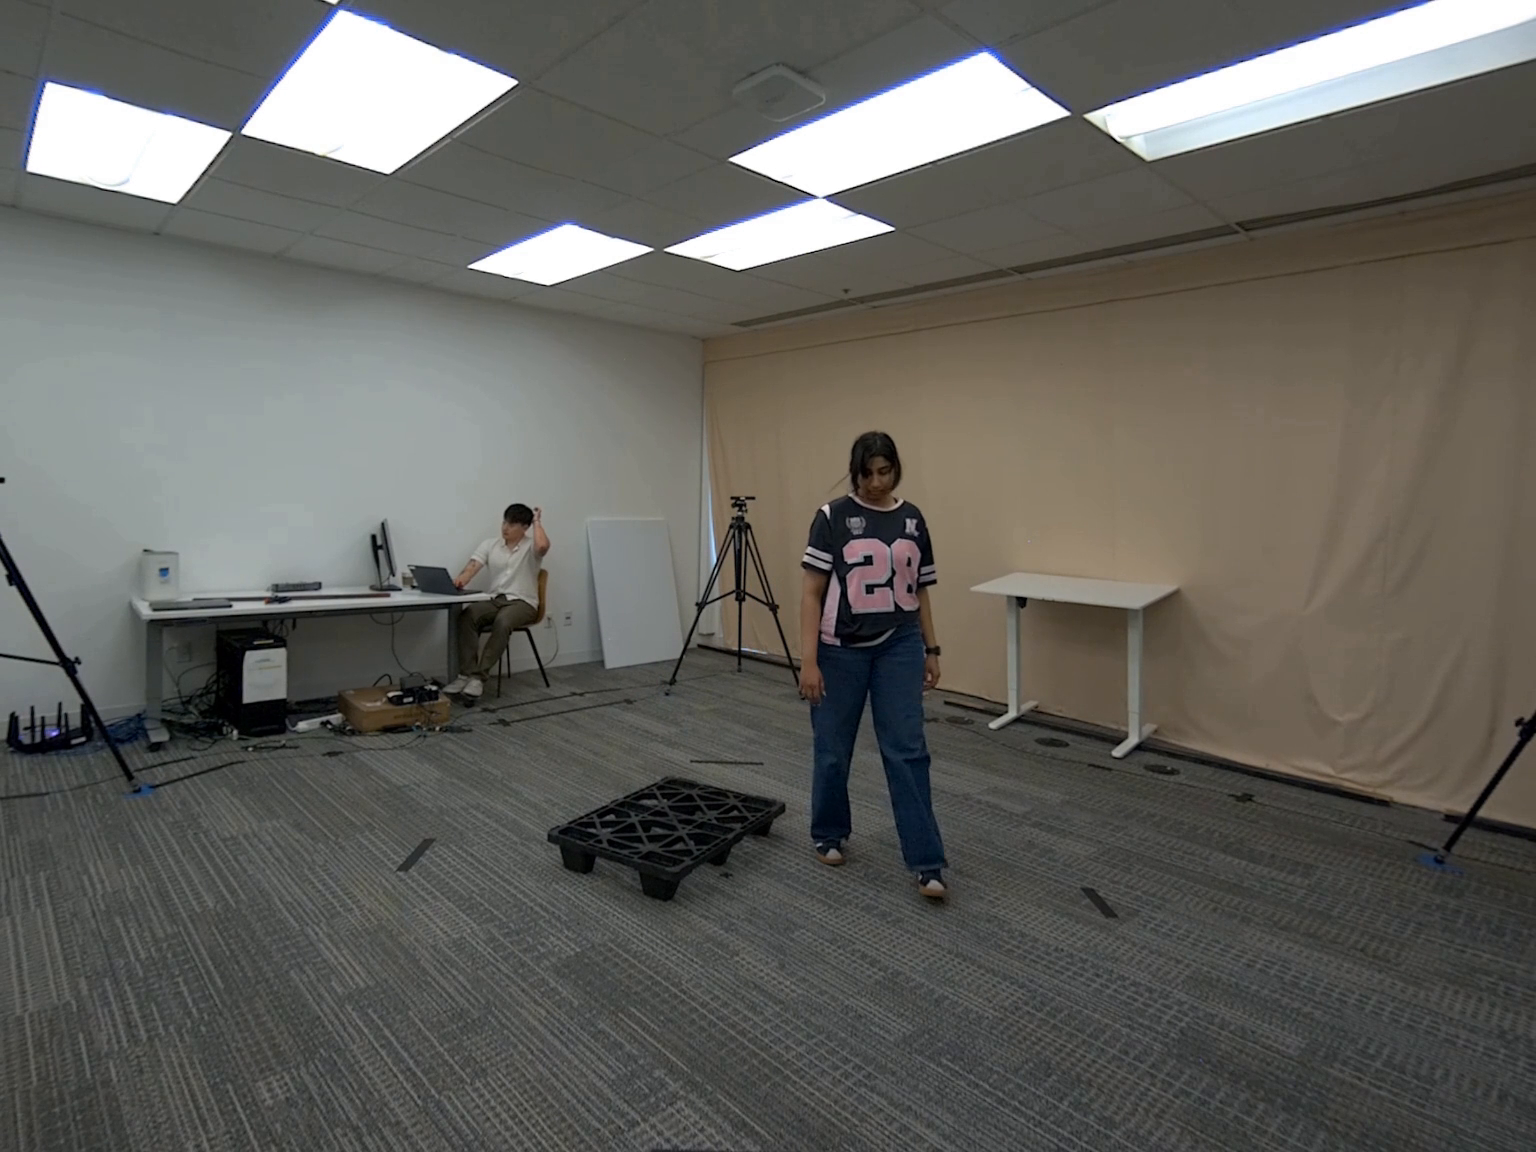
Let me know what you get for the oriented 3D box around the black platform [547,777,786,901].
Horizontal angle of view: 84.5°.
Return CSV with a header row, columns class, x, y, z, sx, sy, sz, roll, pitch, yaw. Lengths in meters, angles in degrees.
class,x,y,z,sx,sy,sz,roll,pitch,yaw
black platform,-0.386,1.012,3.312,0.618,0.143,0.790,4,5,30
